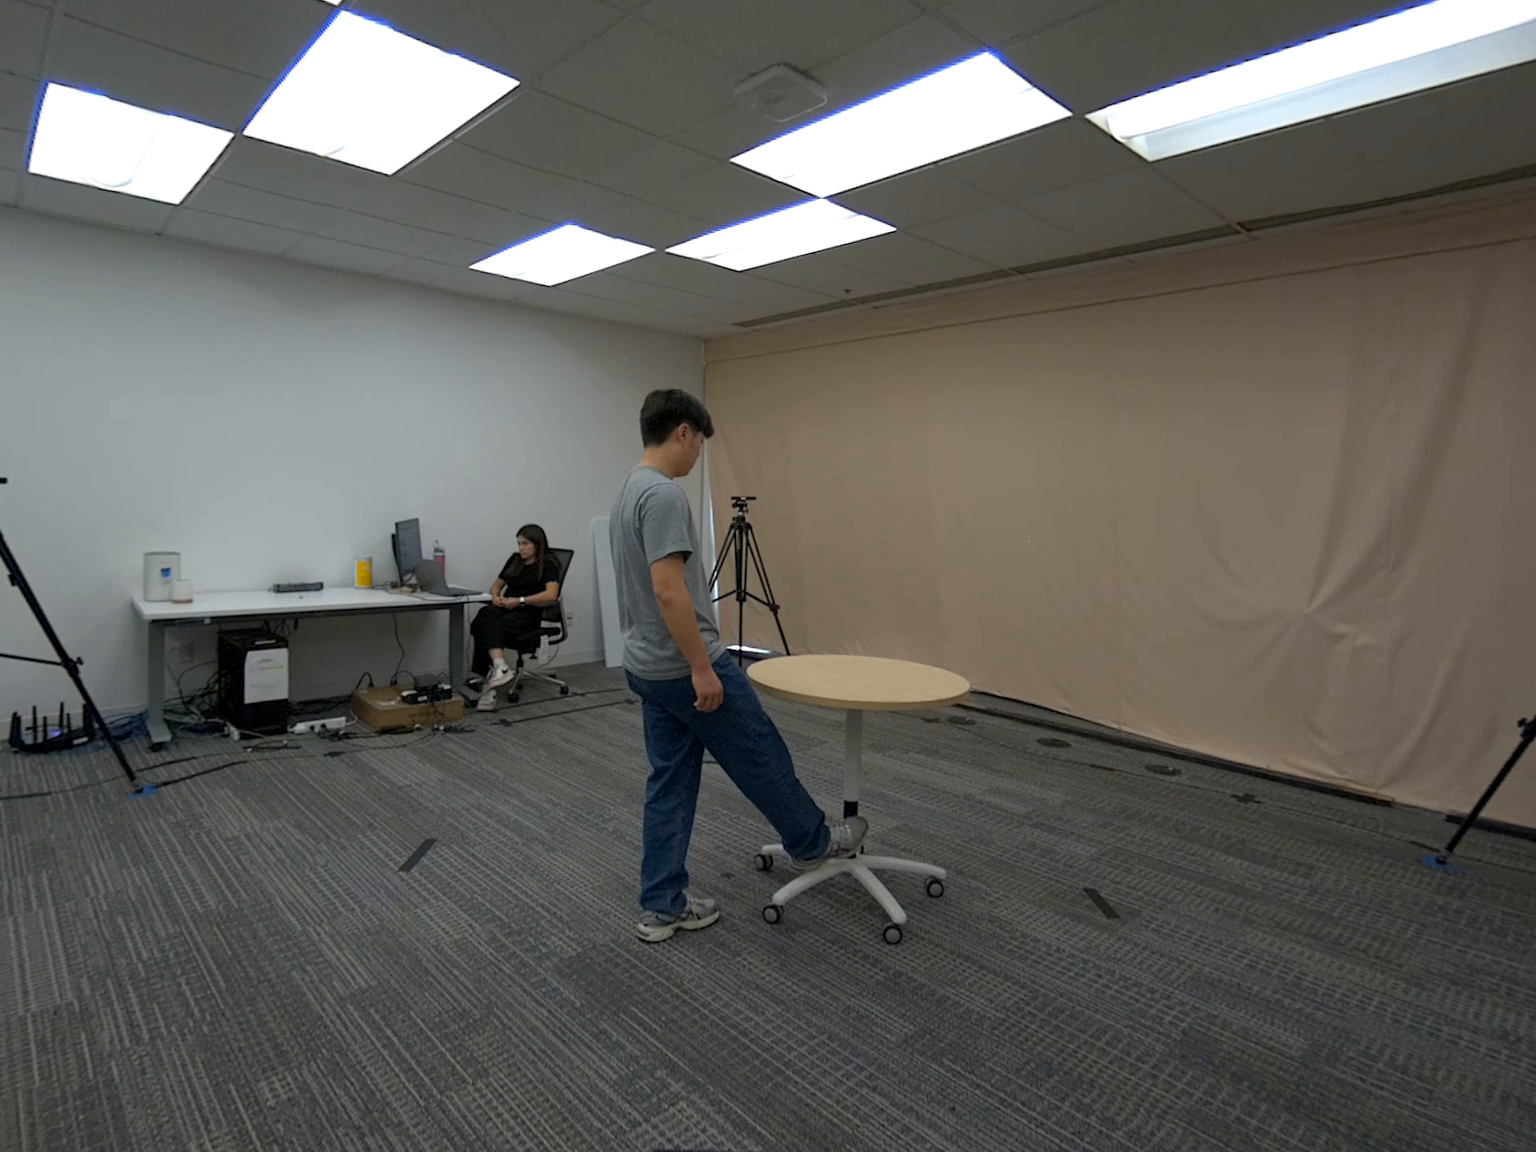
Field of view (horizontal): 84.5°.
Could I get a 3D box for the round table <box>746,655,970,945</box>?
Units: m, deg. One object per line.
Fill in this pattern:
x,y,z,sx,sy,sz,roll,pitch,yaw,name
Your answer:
0.289,0.740,2.956,0.763,0.792,0.766,2,4,-1,round table
